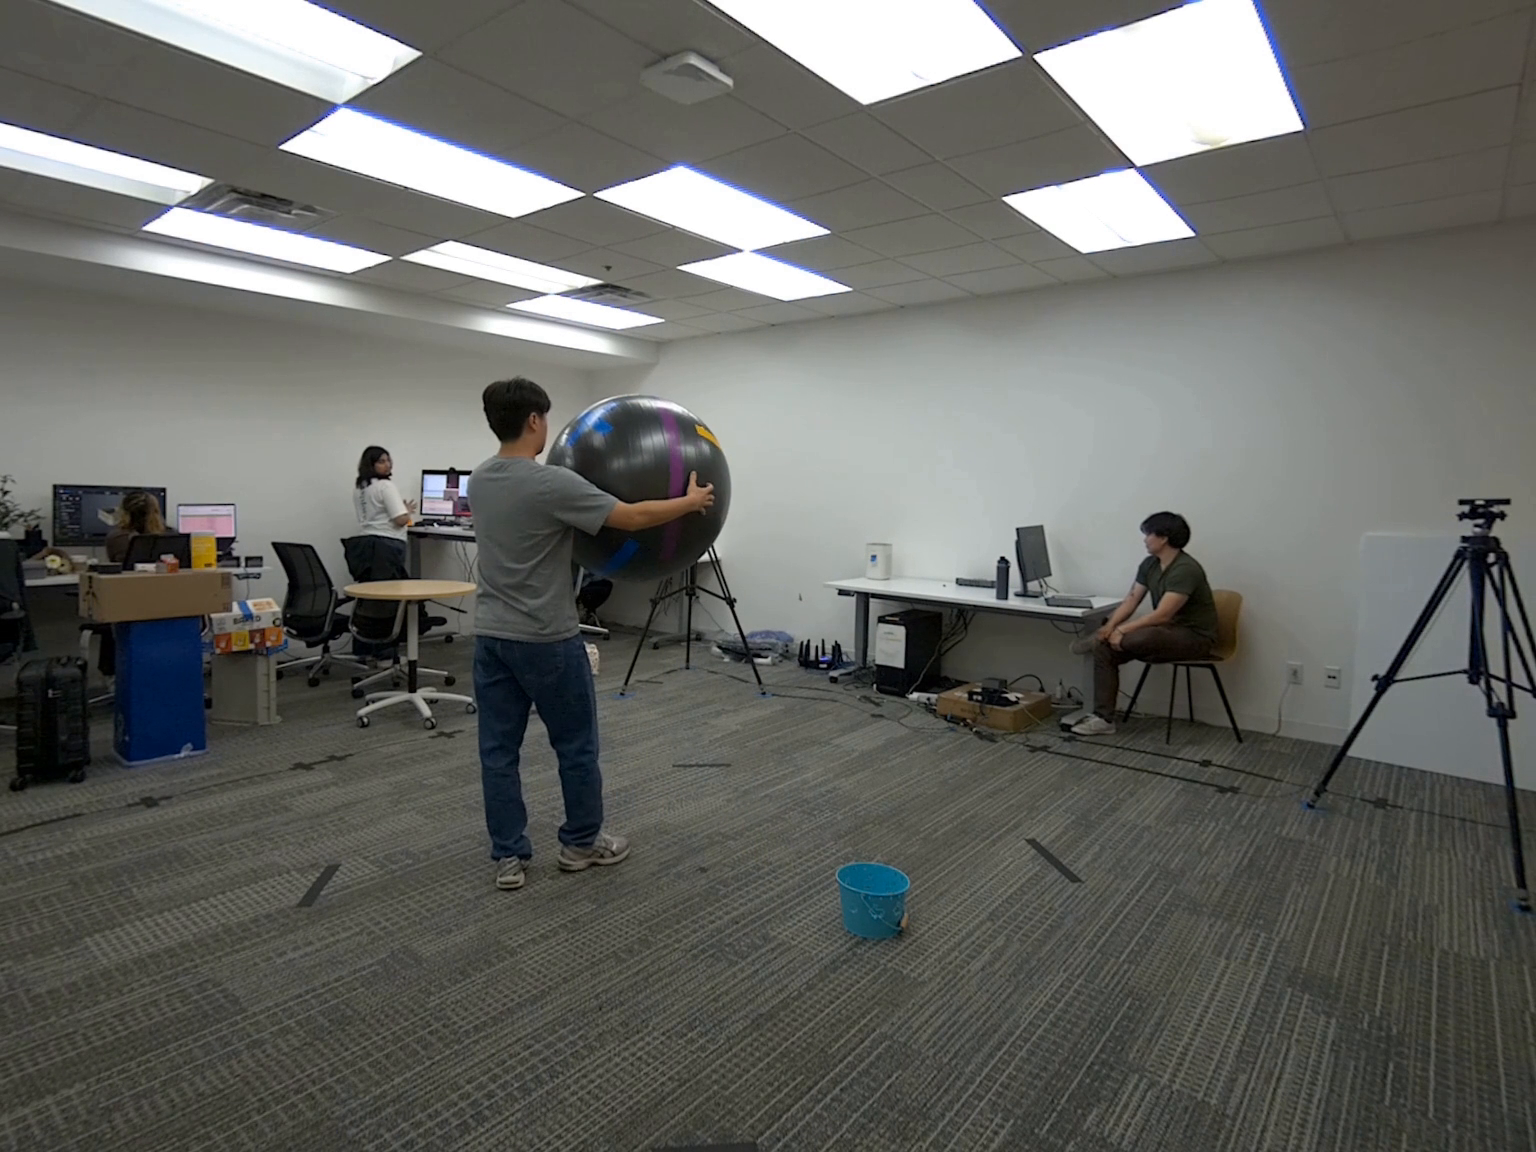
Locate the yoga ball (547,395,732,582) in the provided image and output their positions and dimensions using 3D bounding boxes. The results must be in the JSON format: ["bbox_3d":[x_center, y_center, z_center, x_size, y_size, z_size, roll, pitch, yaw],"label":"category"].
[{"bbox_3d":[-0.543,-0.348,3.437,0.757,0.756,0.761,1,4,-2],"label":"yoga ball"}]
